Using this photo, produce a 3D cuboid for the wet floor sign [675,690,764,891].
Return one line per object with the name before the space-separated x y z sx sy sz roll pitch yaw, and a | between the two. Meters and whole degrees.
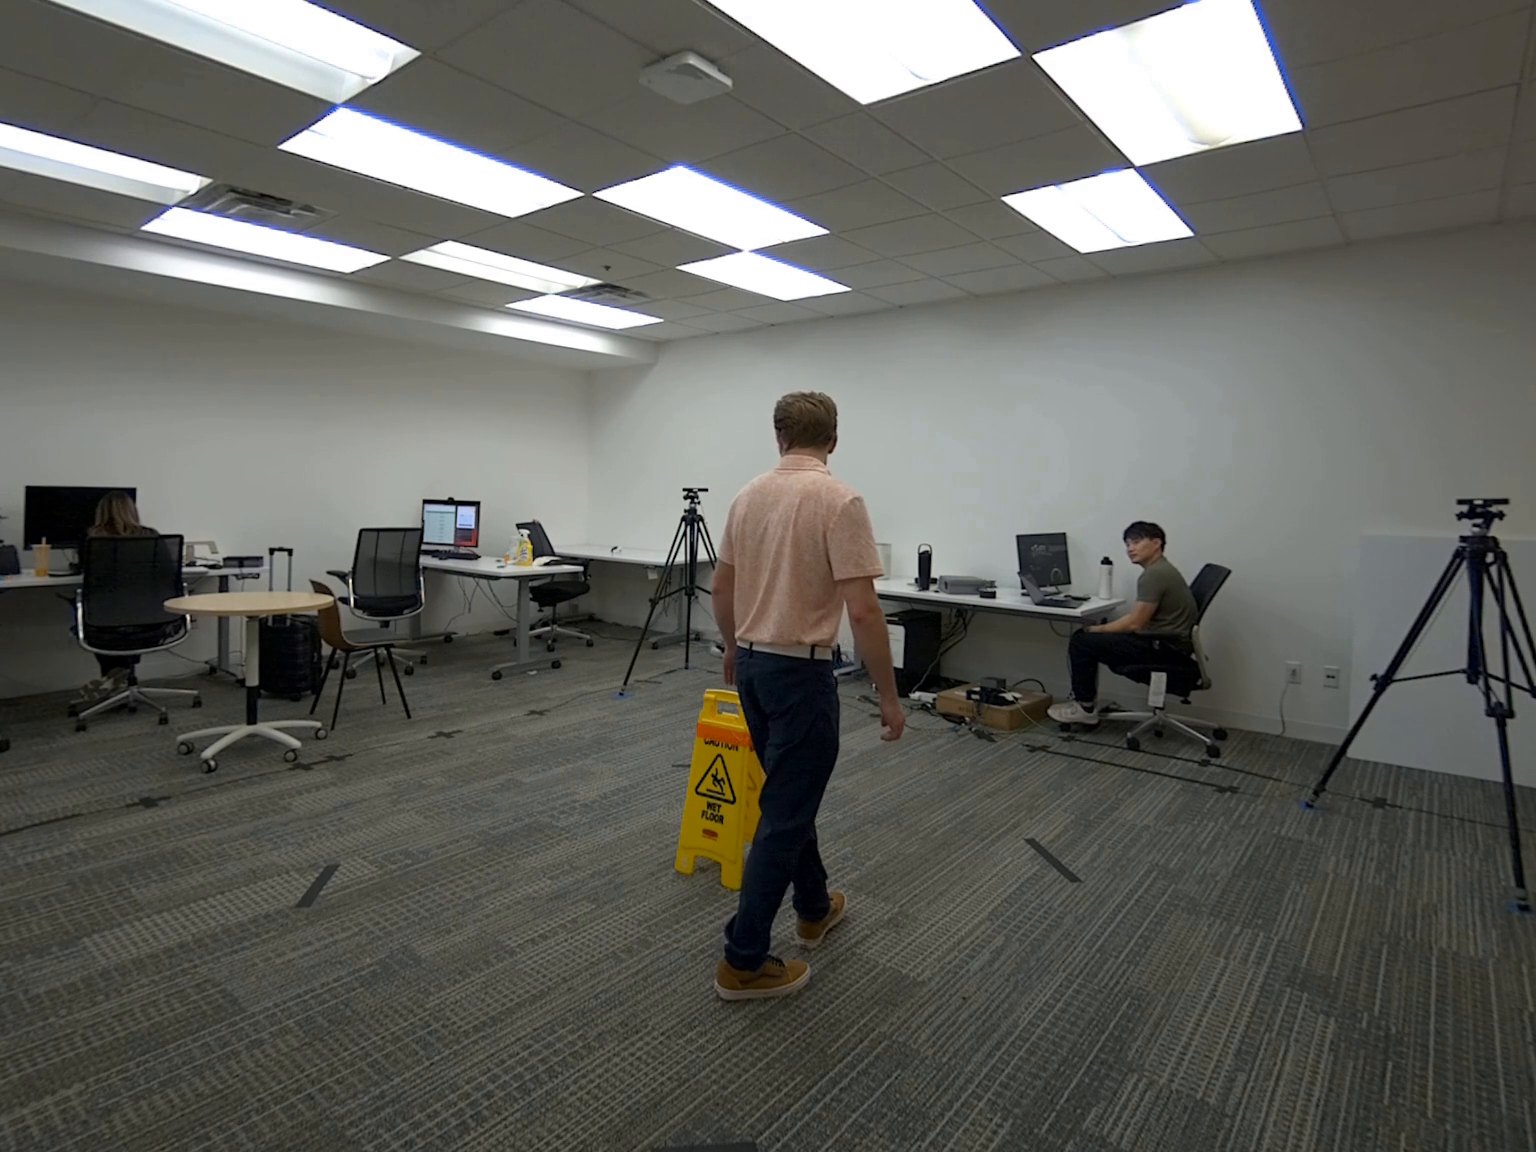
wet floor sign | -0.163 0.744 3.105 0.291 0.644 0.282 2 4 32
